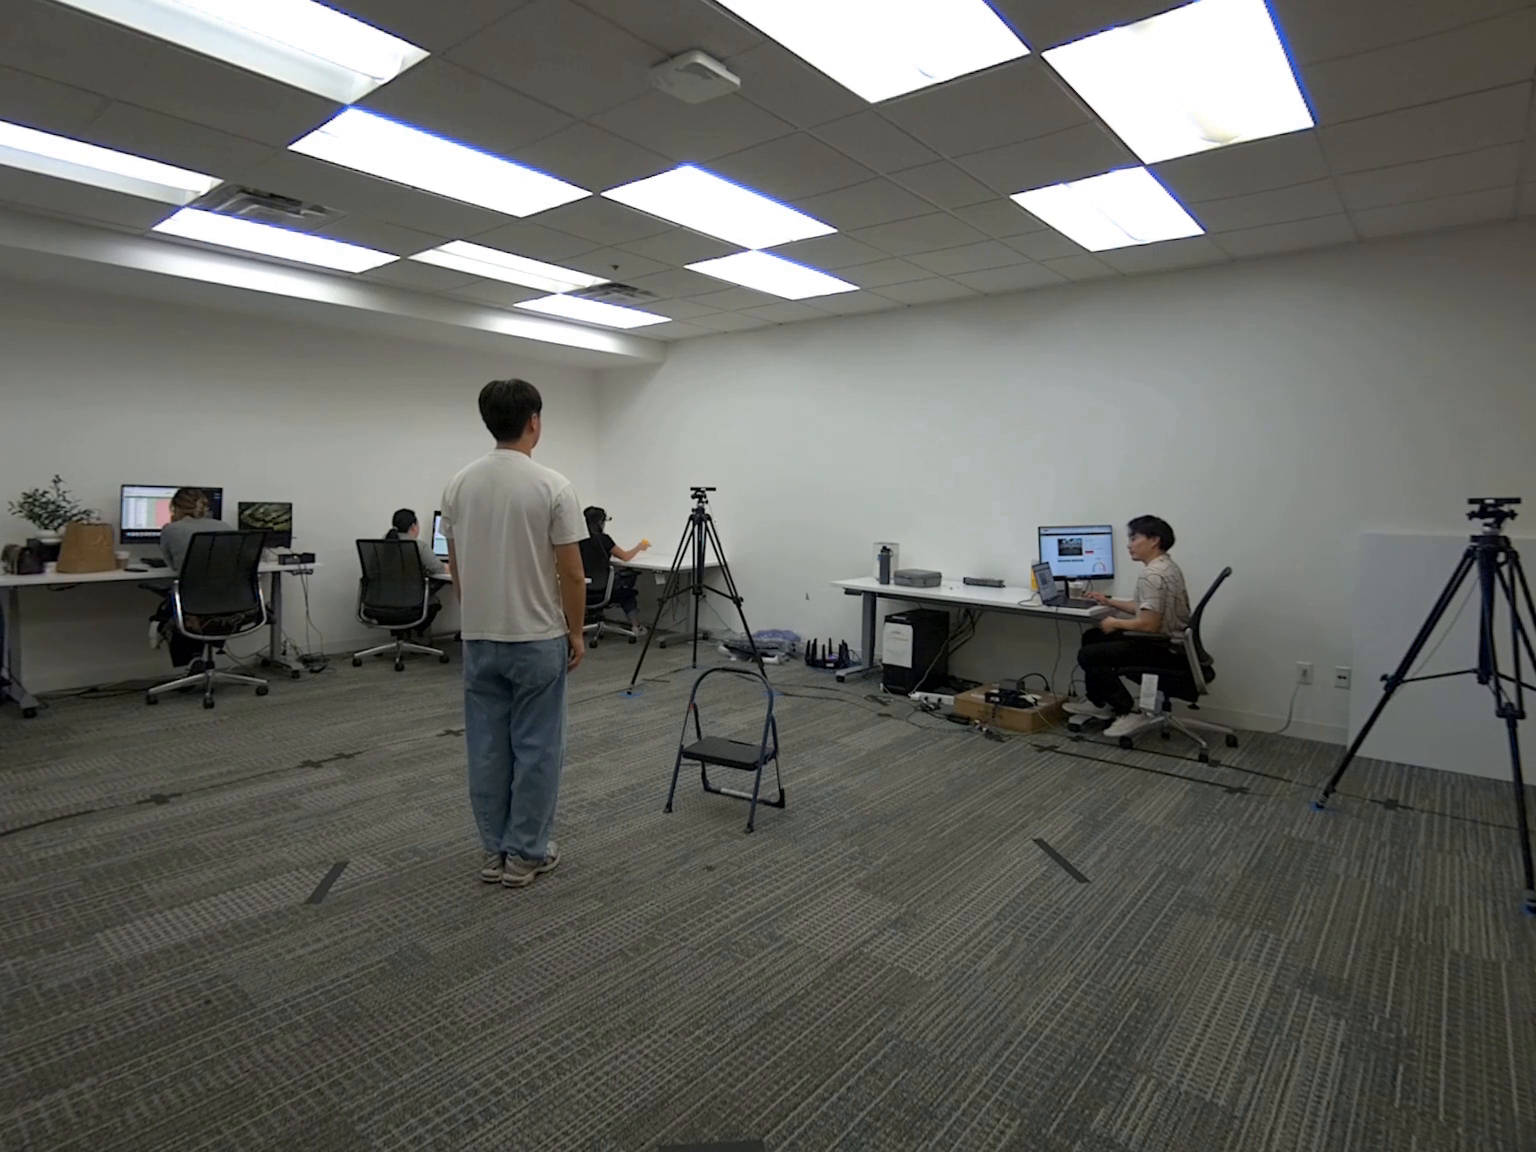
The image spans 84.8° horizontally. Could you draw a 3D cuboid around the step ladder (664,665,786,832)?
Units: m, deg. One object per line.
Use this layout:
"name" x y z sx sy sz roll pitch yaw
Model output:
"step ladder" -0.184 0.708 3.676 0.443 0.604 0.340 3 4 28
